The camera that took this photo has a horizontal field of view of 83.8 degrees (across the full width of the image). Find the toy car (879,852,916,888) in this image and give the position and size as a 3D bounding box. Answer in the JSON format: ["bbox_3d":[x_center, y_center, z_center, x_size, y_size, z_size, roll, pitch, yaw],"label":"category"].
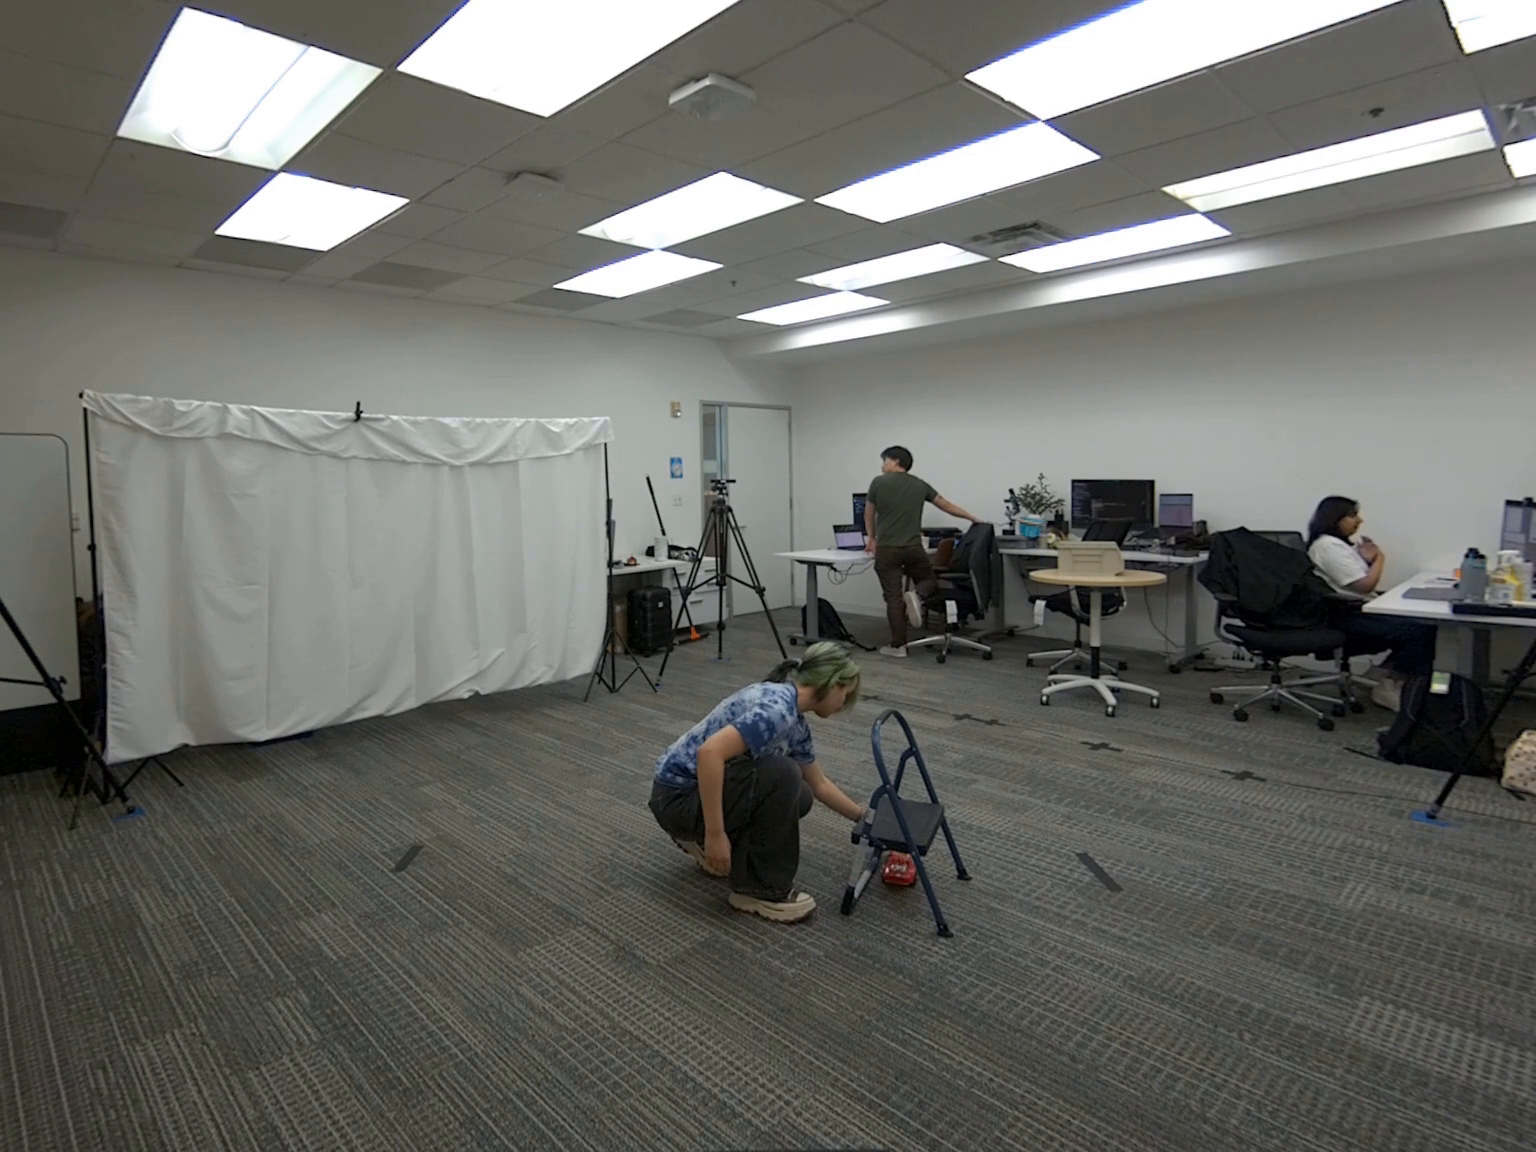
[{"bbox_3d":[0.455,1.020,2.985,0.132,0.084,0.249,3,-7,14],"label":"toy car"}]
